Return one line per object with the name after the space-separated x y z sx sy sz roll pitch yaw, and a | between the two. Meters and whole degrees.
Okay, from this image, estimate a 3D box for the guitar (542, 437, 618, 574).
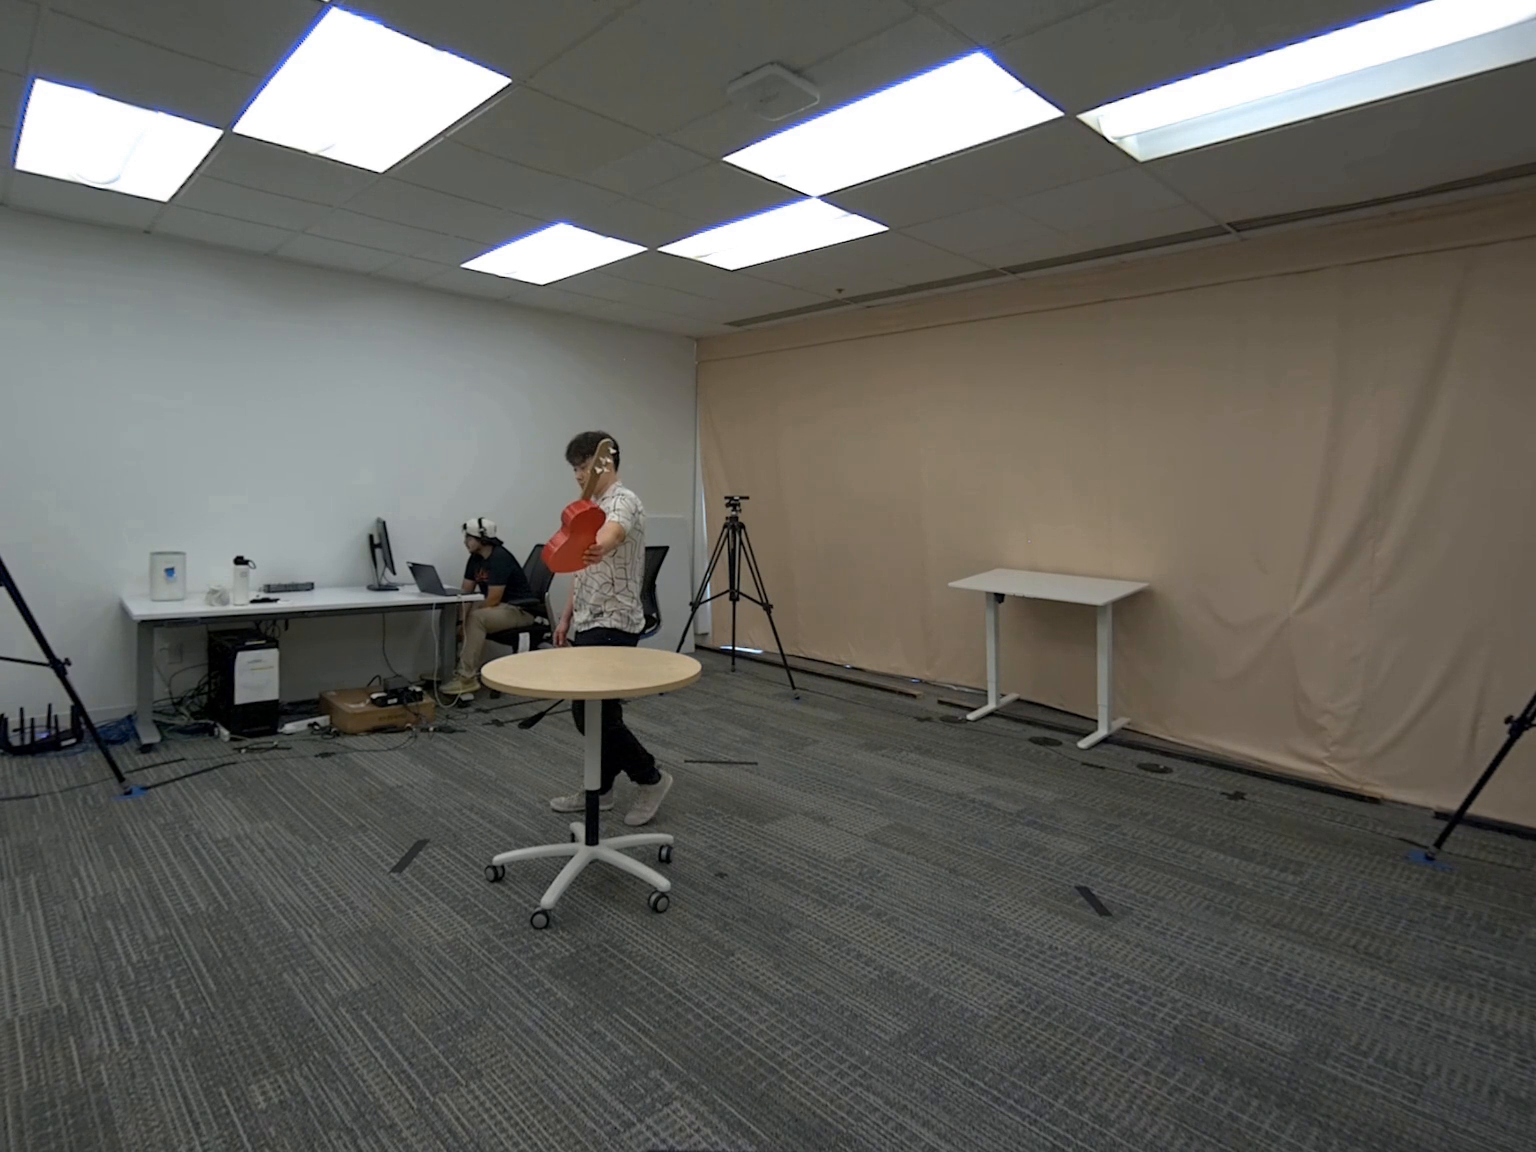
-0.638 -0.219 2.802 0.190 0.492 0.073 -16 48 -44 | guitar
